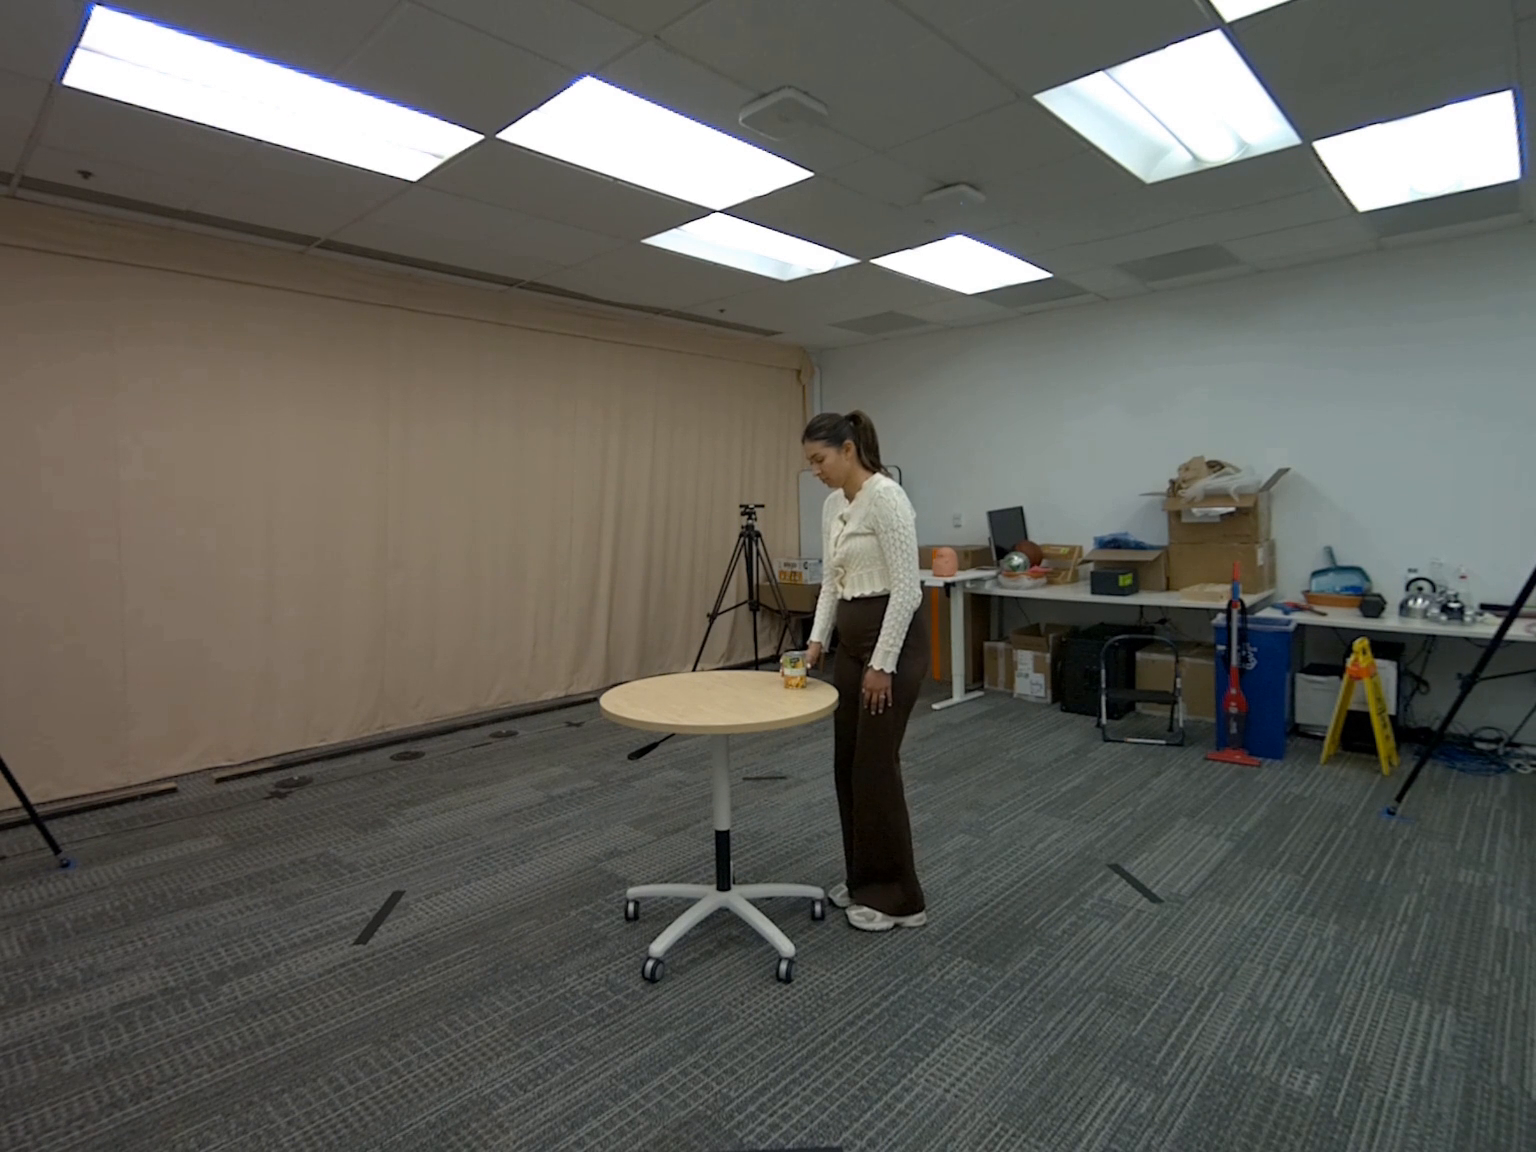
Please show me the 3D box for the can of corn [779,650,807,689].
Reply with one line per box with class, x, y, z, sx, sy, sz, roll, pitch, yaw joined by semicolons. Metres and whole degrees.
can of corn;0.090;0.316;2.799;0.074;0.111;0.074;3;3;-2
